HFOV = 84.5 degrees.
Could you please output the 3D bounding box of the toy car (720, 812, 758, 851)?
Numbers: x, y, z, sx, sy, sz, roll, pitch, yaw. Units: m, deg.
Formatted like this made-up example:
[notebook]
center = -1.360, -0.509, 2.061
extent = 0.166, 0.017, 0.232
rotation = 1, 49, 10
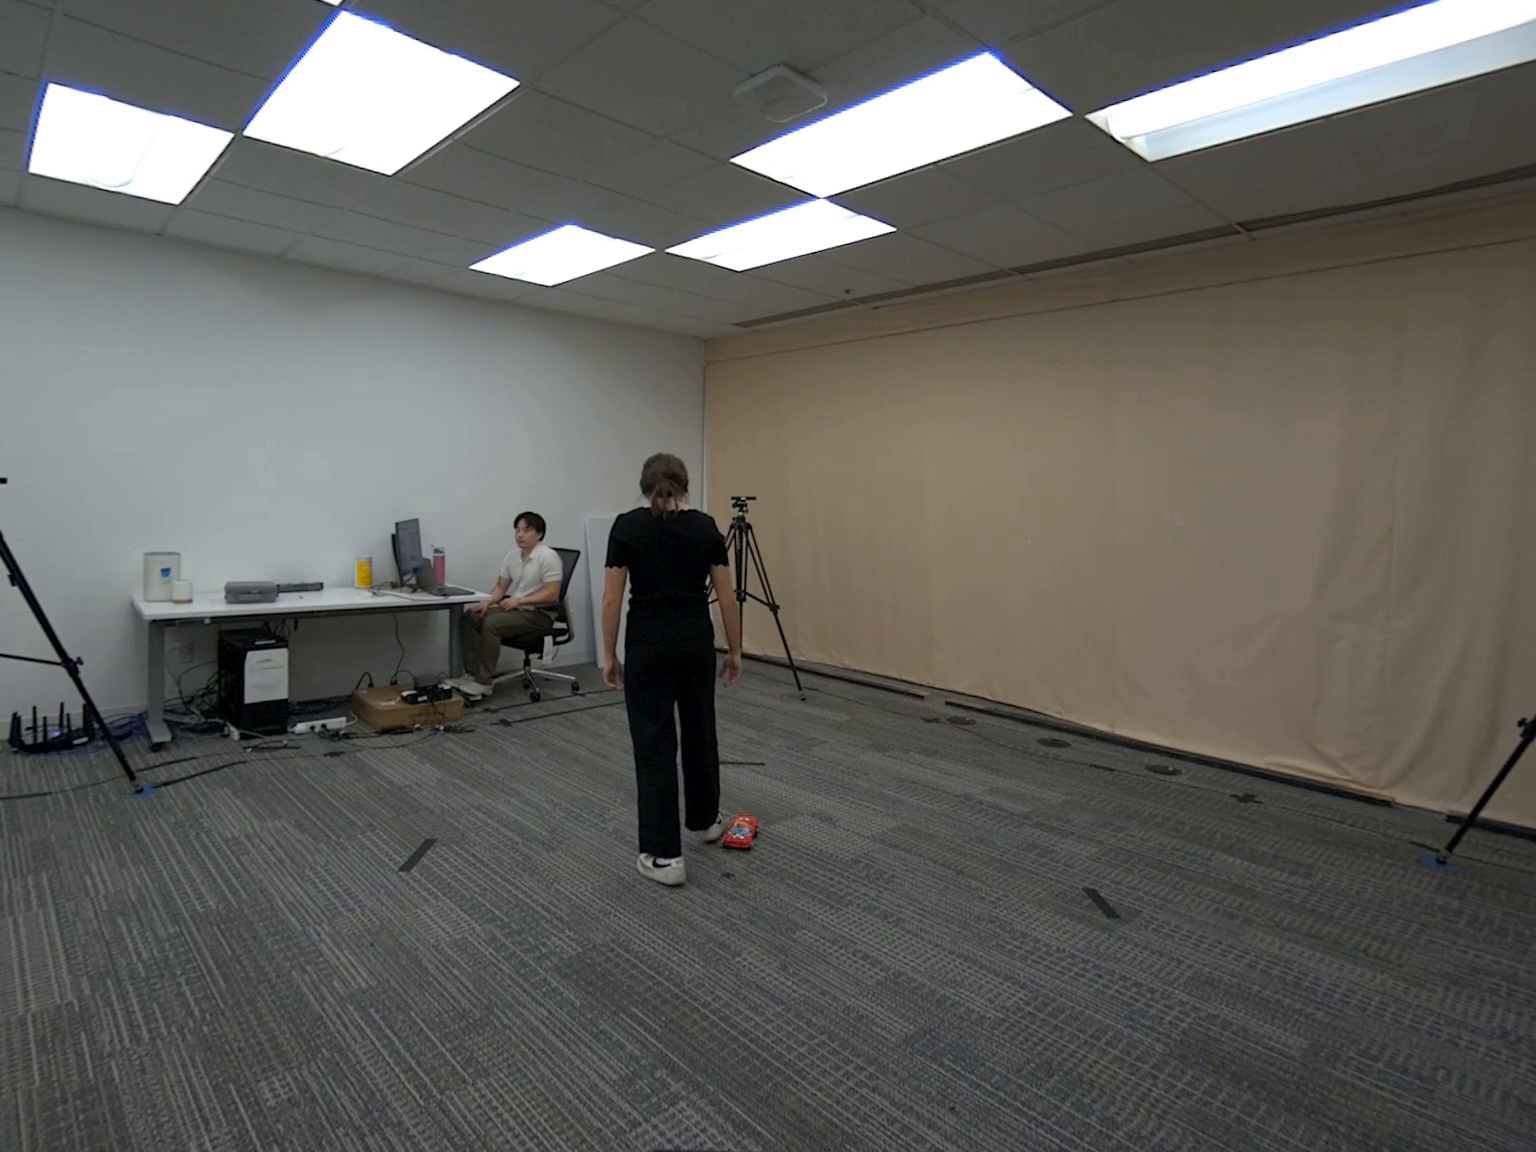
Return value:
[toy car]
center = -0.123, 1.042, 3.441
extent = 0.131, 0.082, 0.255
rotation = 2, 16, 9
